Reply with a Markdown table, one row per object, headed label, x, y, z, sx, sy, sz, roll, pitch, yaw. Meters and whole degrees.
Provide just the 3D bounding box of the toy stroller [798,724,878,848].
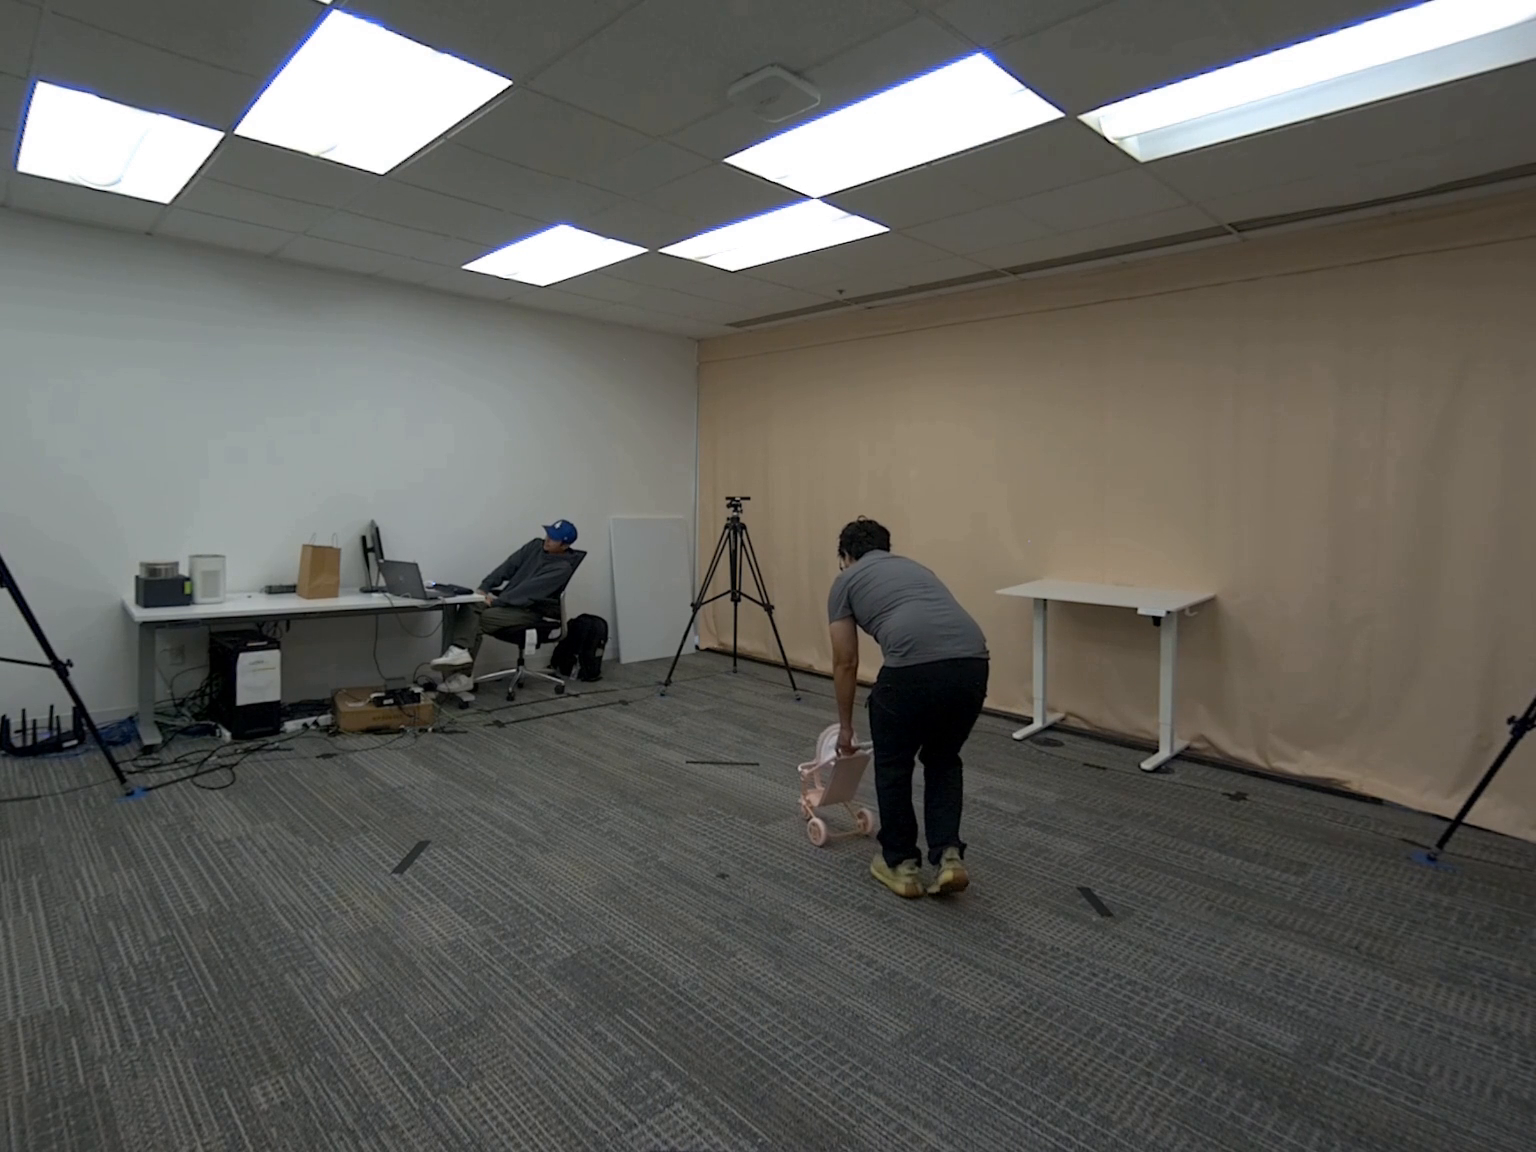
| label | x | y | z | sx | sy | sz | roll | pitch | yaw |
| --- | --- | --- | --- | --- | --- | --- | --- | --- | --- |
| toy stroller | 0.270 | 0.853 | 3.509 | 0.276 | 0.530 | 0.351 | 0 | 18 | -28 |
